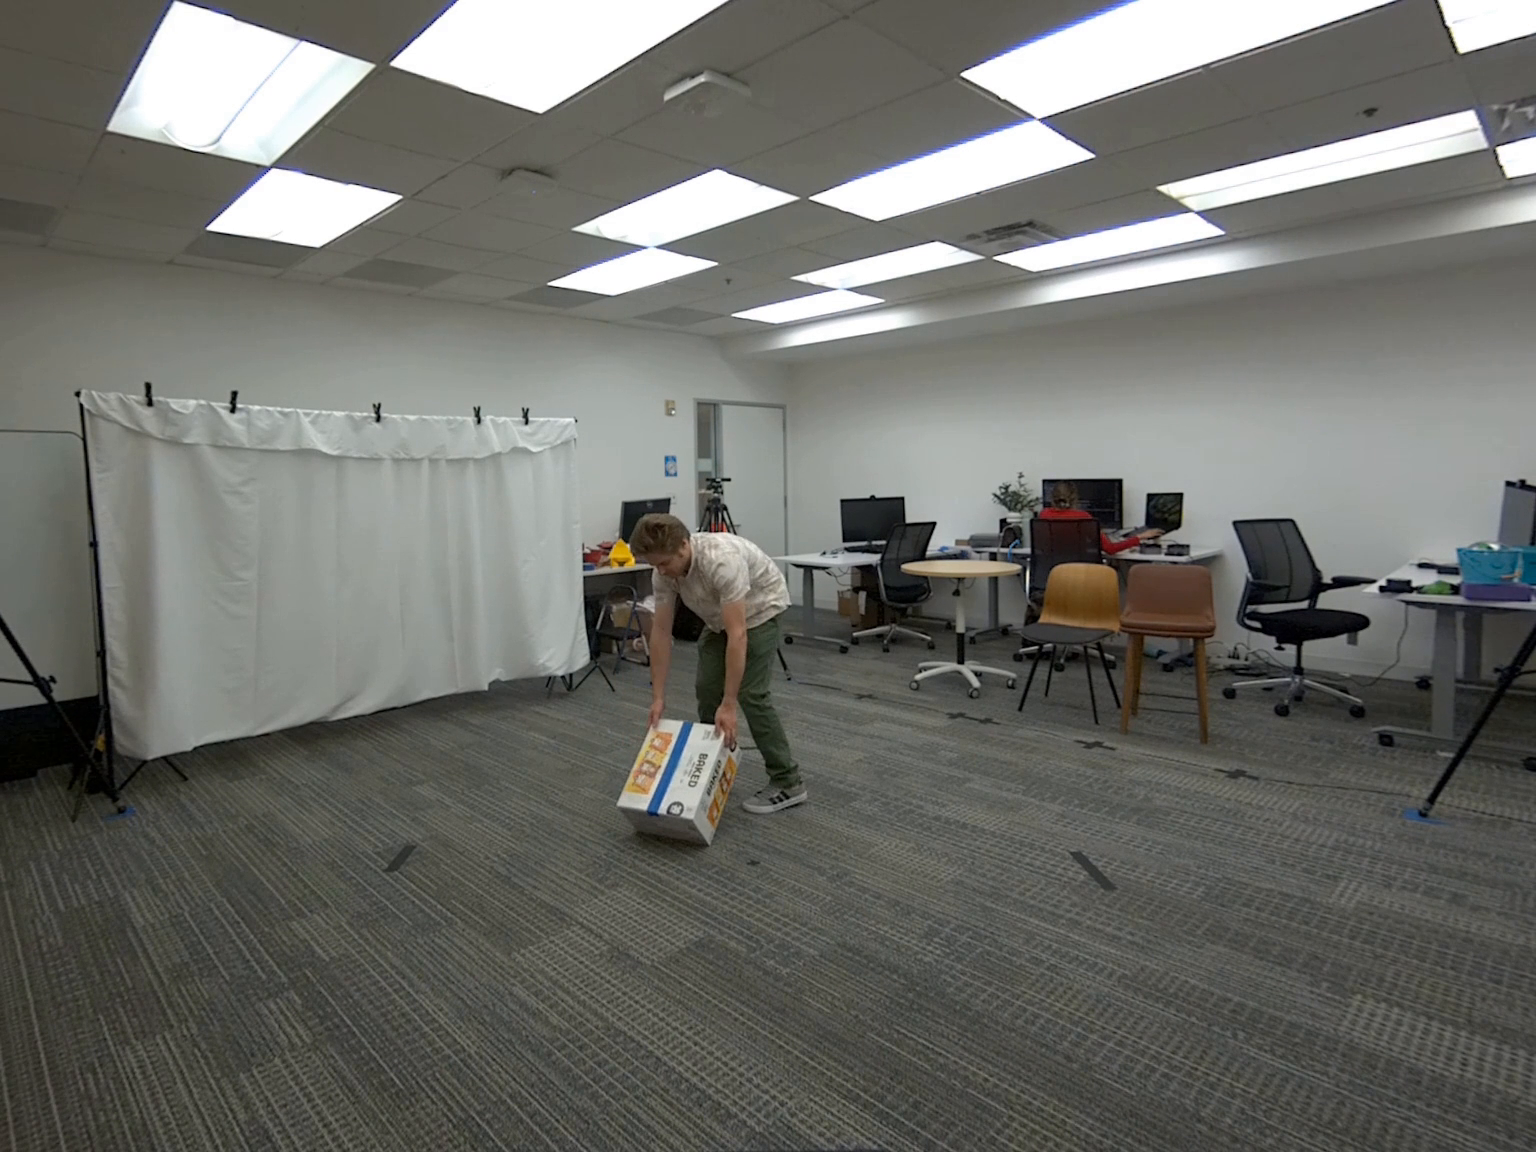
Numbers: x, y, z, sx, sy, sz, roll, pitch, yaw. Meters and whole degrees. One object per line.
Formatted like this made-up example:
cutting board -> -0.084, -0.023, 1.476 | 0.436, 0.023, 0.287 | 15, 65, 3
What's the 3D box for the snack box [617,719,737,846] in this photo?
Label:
snack box -> -0.342, 0.808, 3.391 | 0.348, 0.198, 0.410 | 0, 47, 26
